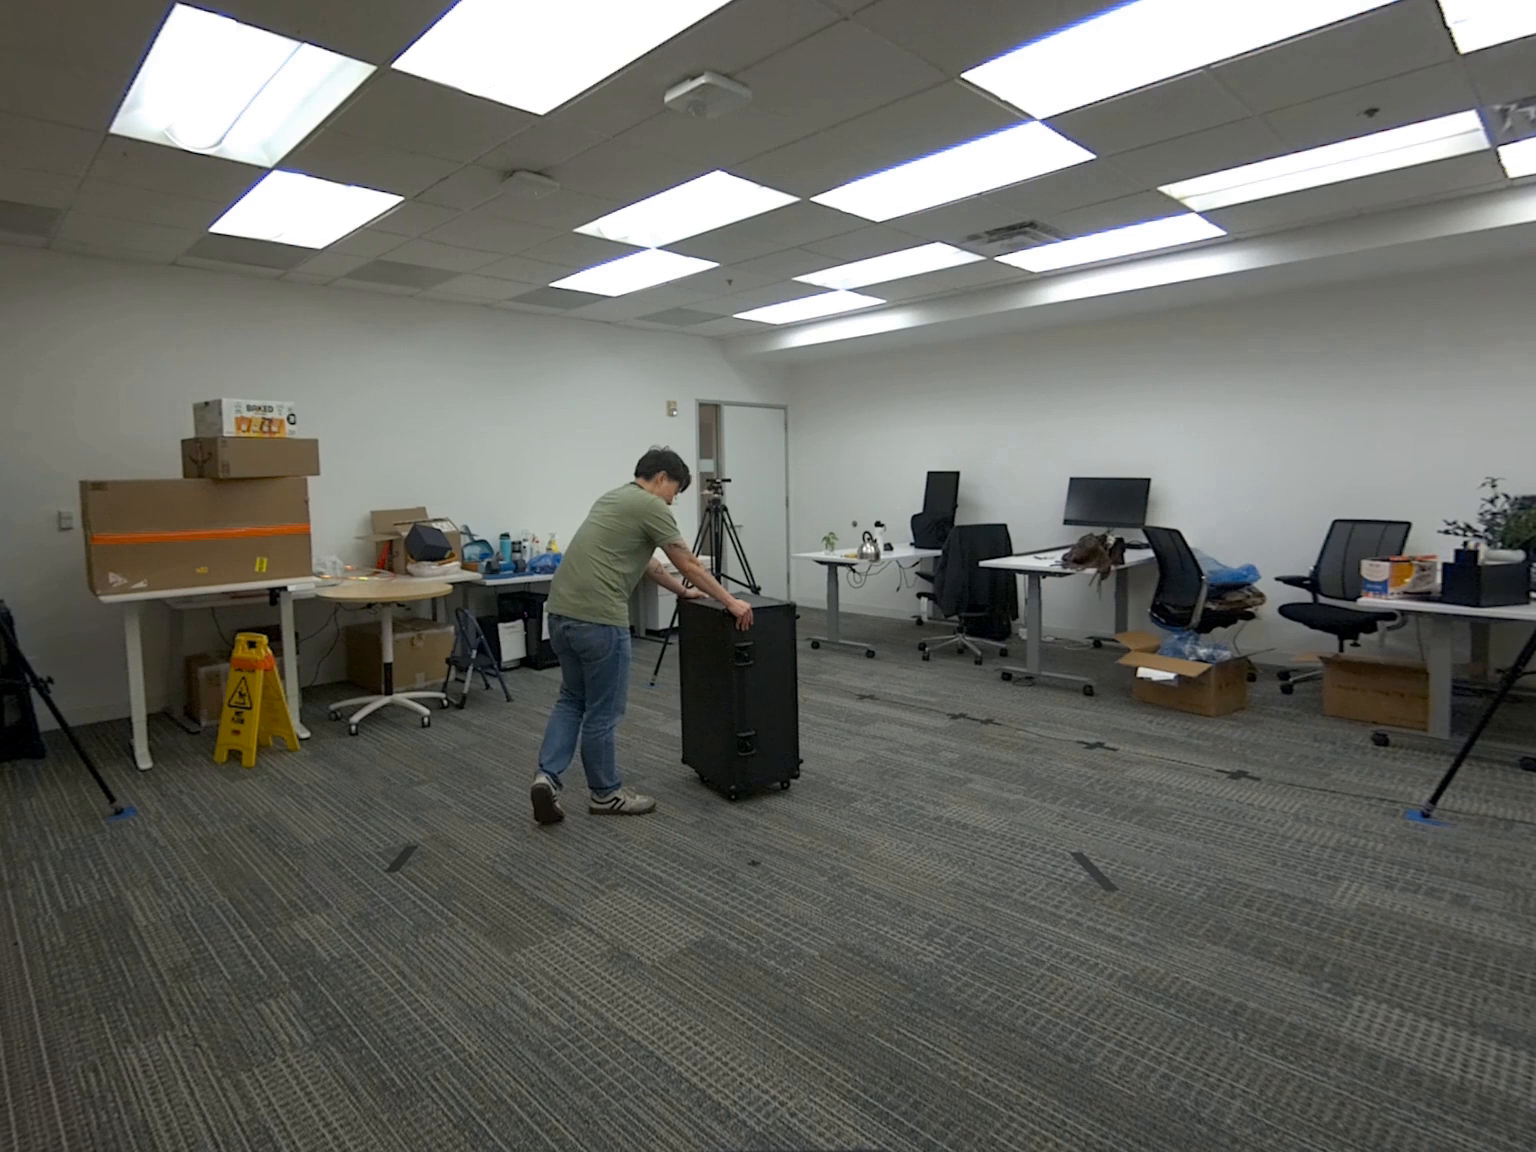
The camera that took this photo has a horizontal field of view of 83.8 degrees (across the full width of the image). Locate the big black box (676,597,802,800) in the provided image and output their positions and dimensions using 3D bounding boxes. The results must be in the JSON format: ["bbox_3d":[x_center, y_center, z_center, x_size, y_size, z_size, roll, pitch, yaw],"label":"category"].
[{"bbox_3d":[-0.133,0.532,3.900,0.387,0.859,0.535,-2,4,-30],"label":"big black box"}]
